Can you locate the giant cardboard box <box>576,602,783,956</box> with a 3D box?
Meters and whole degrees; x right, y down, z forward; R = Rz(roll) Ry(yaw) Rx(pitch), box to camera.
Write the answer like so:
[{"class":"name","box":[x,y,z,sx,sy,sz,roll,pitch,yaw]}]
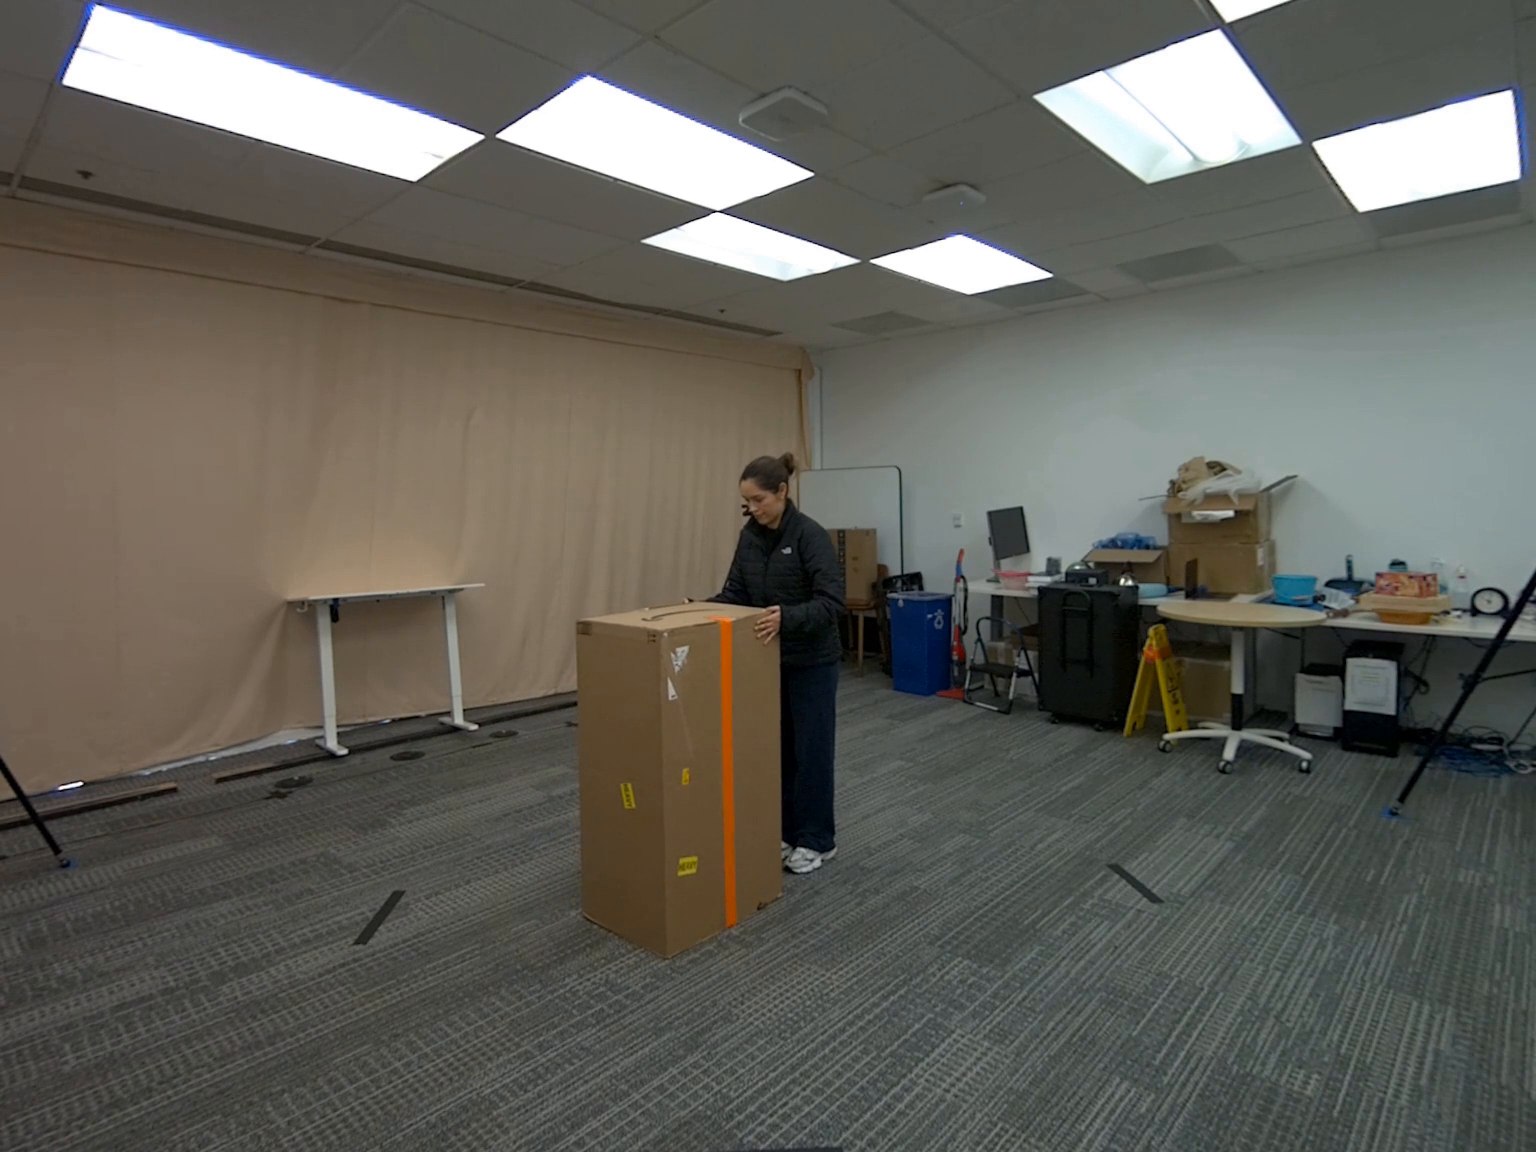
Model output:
[{"class":"giant cardboard box","box":[-0.285,0.647,2.903,0.440,1.024,0.560,2,4,41]}]
